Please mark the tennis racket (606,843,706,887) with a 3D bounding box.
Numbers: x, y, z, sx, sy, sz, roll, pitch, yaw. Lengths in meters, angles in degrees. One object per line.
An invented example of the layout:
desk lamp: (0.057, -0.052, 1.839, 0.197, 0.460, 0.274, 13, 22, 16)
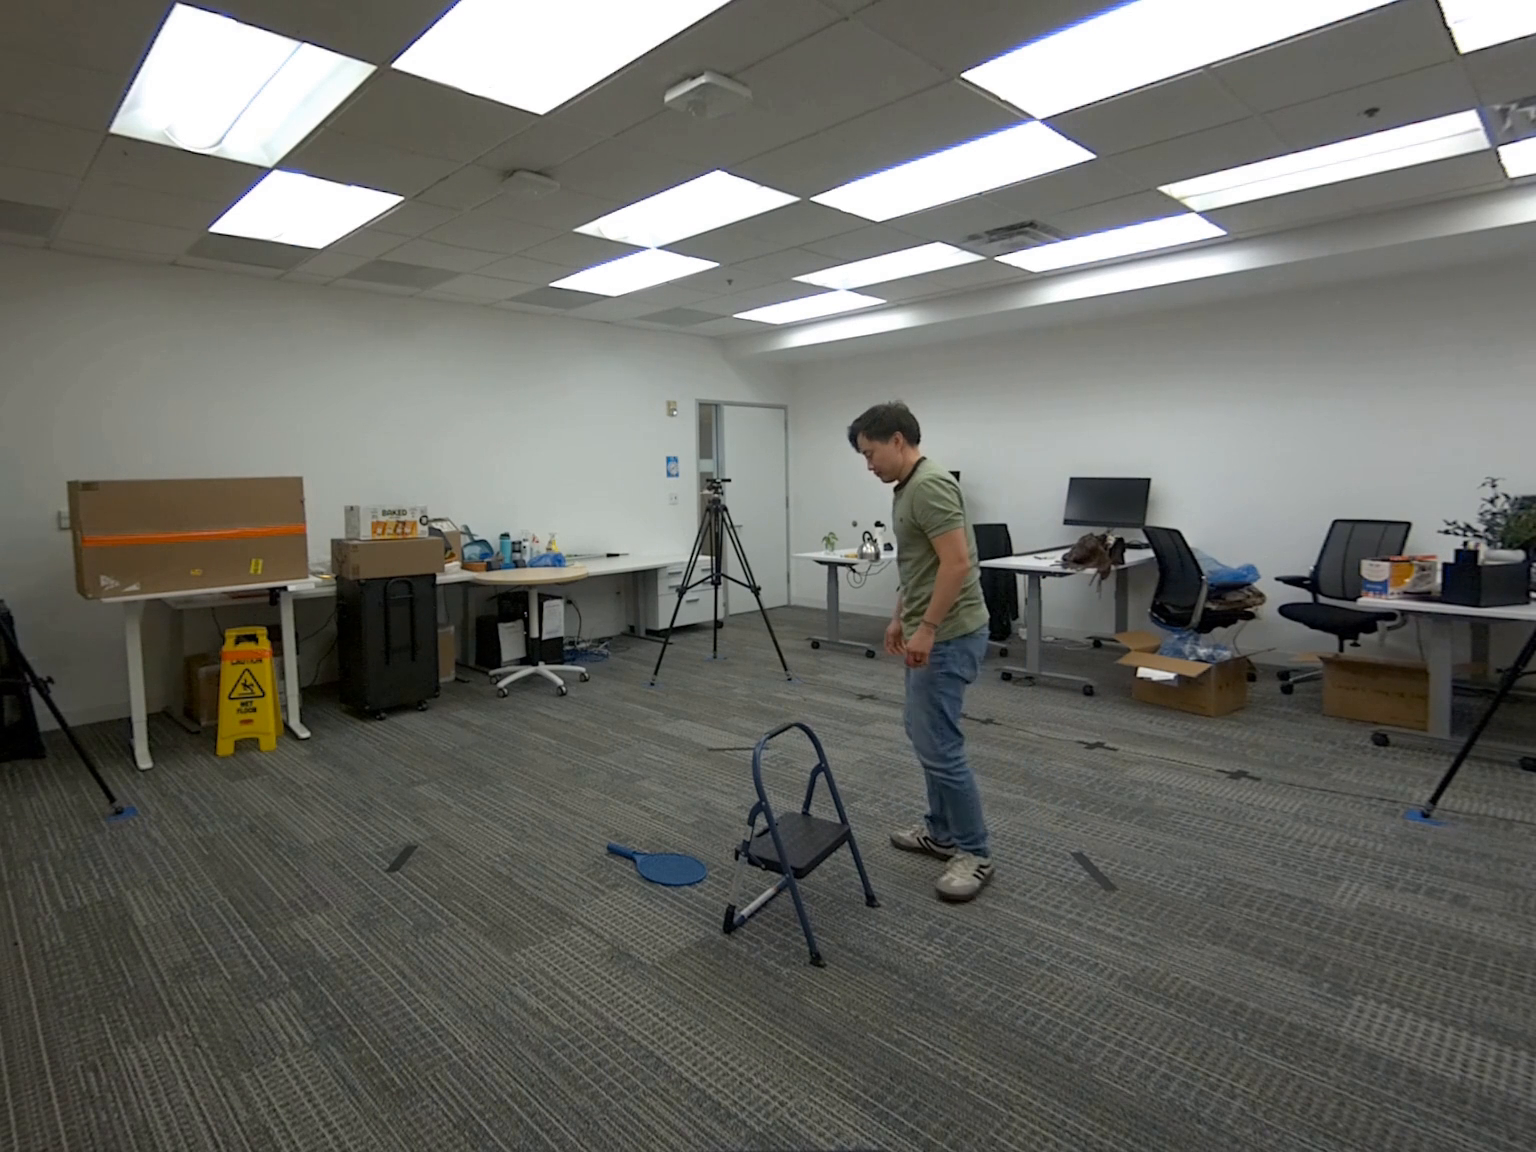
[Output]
tennis racket: (-0.412, 1.038, 3.096, 0.445, 0.031, 0.209, 4, 8, 32)
